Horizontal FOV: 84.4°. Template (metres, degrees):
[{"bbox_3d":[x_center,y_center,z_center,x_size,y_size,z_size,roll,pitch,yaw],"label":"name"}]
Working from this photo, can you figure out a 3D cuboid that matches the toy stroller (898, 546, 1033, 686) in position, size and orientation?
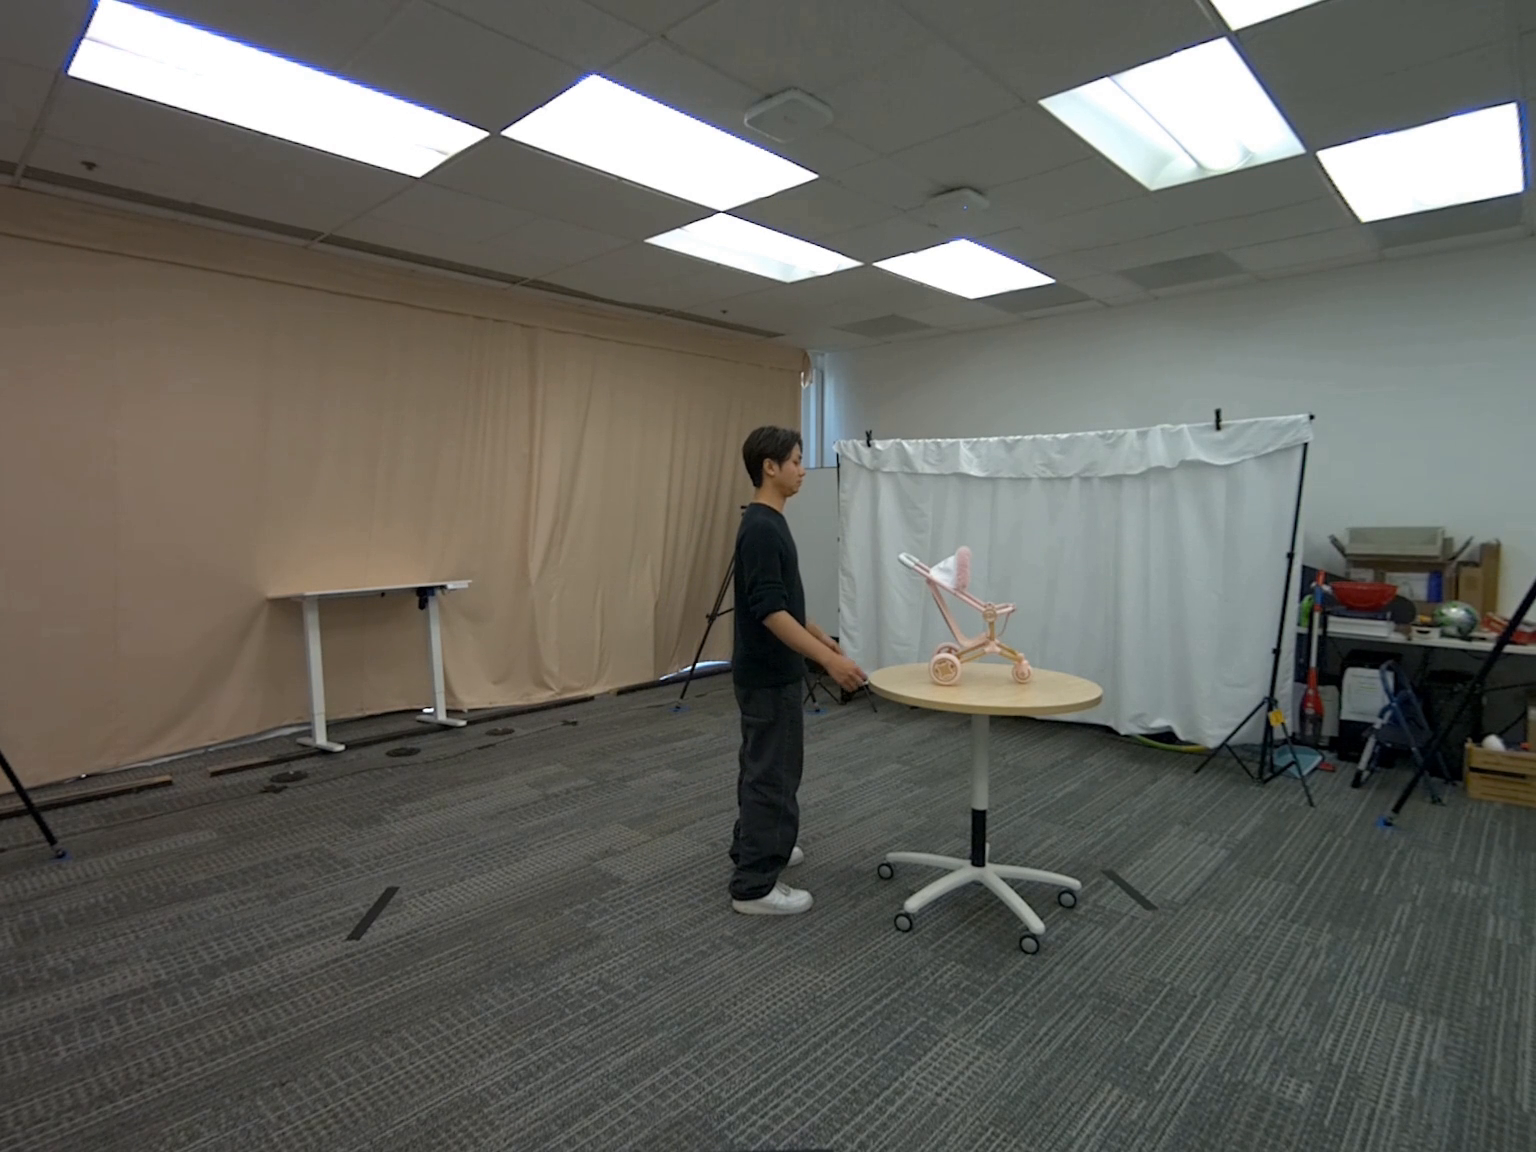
[{"bbox_3d":[0.701,0.143,2.918,0.347,0.536,0.276,-15,-3,21],"label":"toy stroller"}]
